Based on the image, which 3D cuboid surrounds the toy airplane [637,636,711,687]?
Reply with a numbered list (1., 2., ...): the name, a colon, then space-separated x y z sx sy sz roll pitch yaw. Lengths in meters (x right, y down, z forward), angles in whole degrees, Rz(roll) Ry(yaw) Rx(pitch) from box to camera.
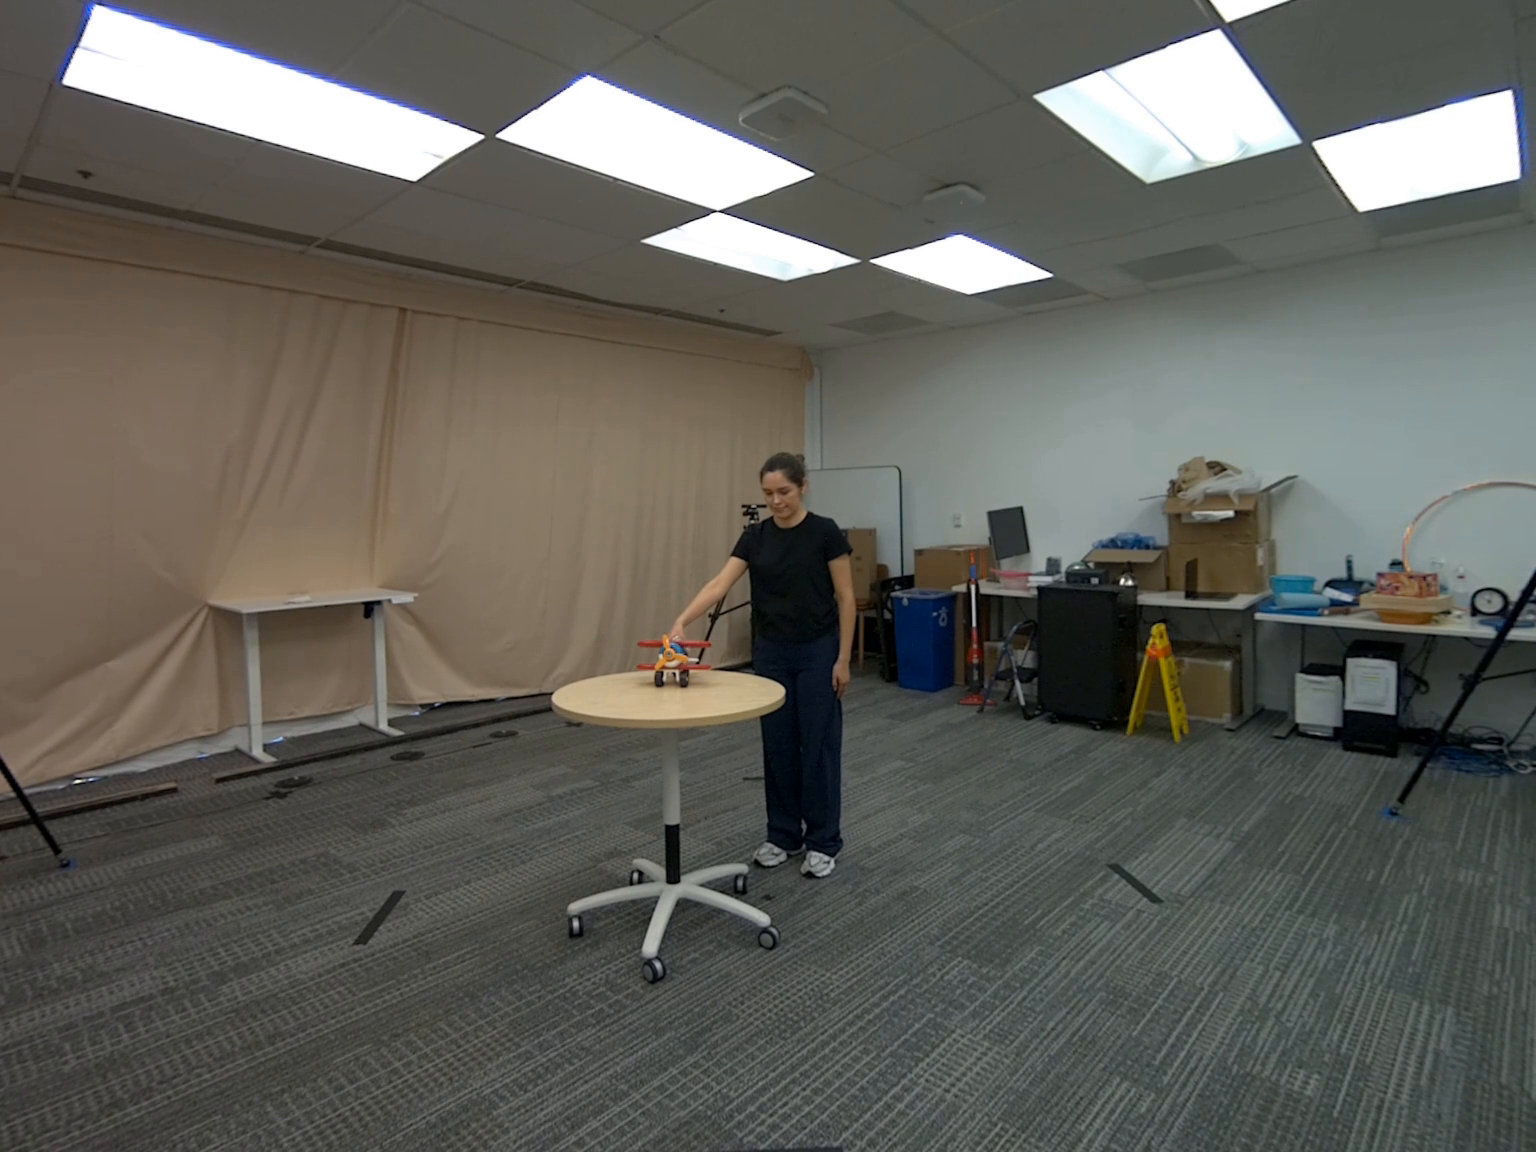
1. toy airplane: -0.335 0.292 2.933 0.245 0.156 0.266 -1 3 -27
